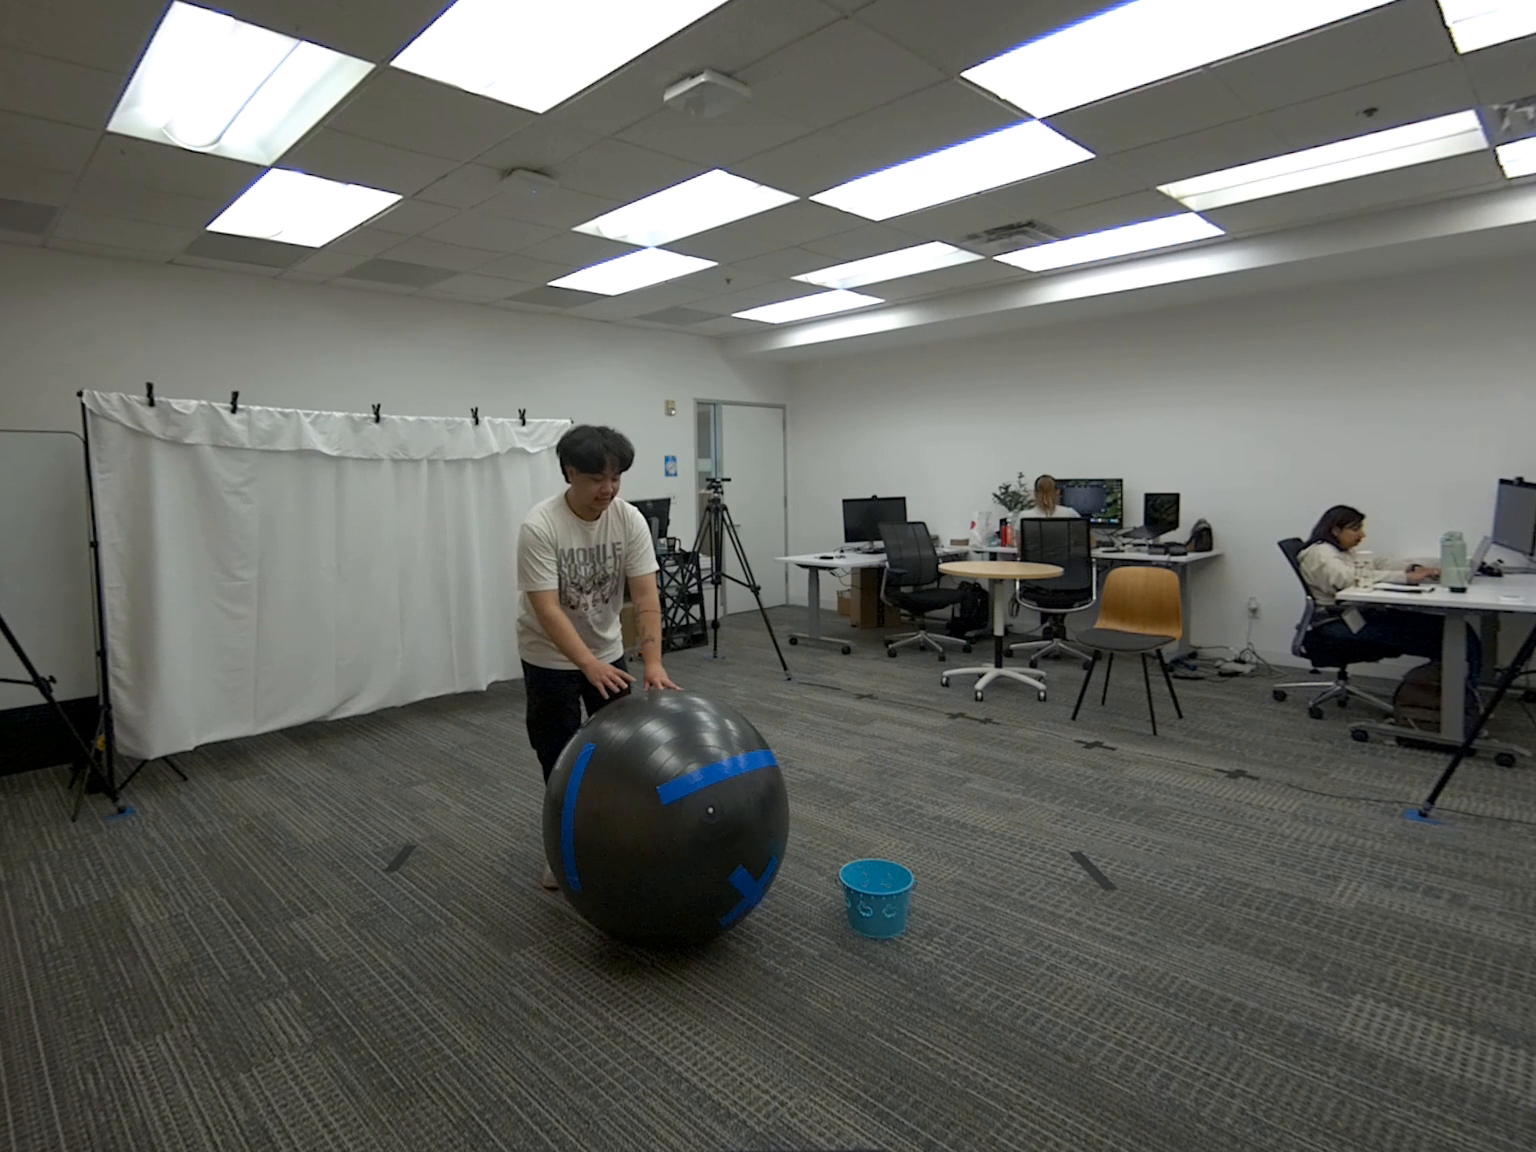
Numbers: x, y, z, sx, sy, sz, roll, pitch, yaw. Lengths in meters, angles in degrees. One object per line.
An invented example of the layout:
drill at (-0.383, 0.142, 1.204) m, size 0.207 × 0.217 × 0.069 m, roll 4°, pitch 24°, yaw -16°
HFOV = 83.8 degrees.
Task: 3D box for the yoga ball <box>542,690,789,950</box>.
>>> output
yoga ball at (-0.311, 0.737, 2.637) m, size 0.757 × 0.755 × 0.762 m, roll -1°, pitch 5°, yaw -2°
